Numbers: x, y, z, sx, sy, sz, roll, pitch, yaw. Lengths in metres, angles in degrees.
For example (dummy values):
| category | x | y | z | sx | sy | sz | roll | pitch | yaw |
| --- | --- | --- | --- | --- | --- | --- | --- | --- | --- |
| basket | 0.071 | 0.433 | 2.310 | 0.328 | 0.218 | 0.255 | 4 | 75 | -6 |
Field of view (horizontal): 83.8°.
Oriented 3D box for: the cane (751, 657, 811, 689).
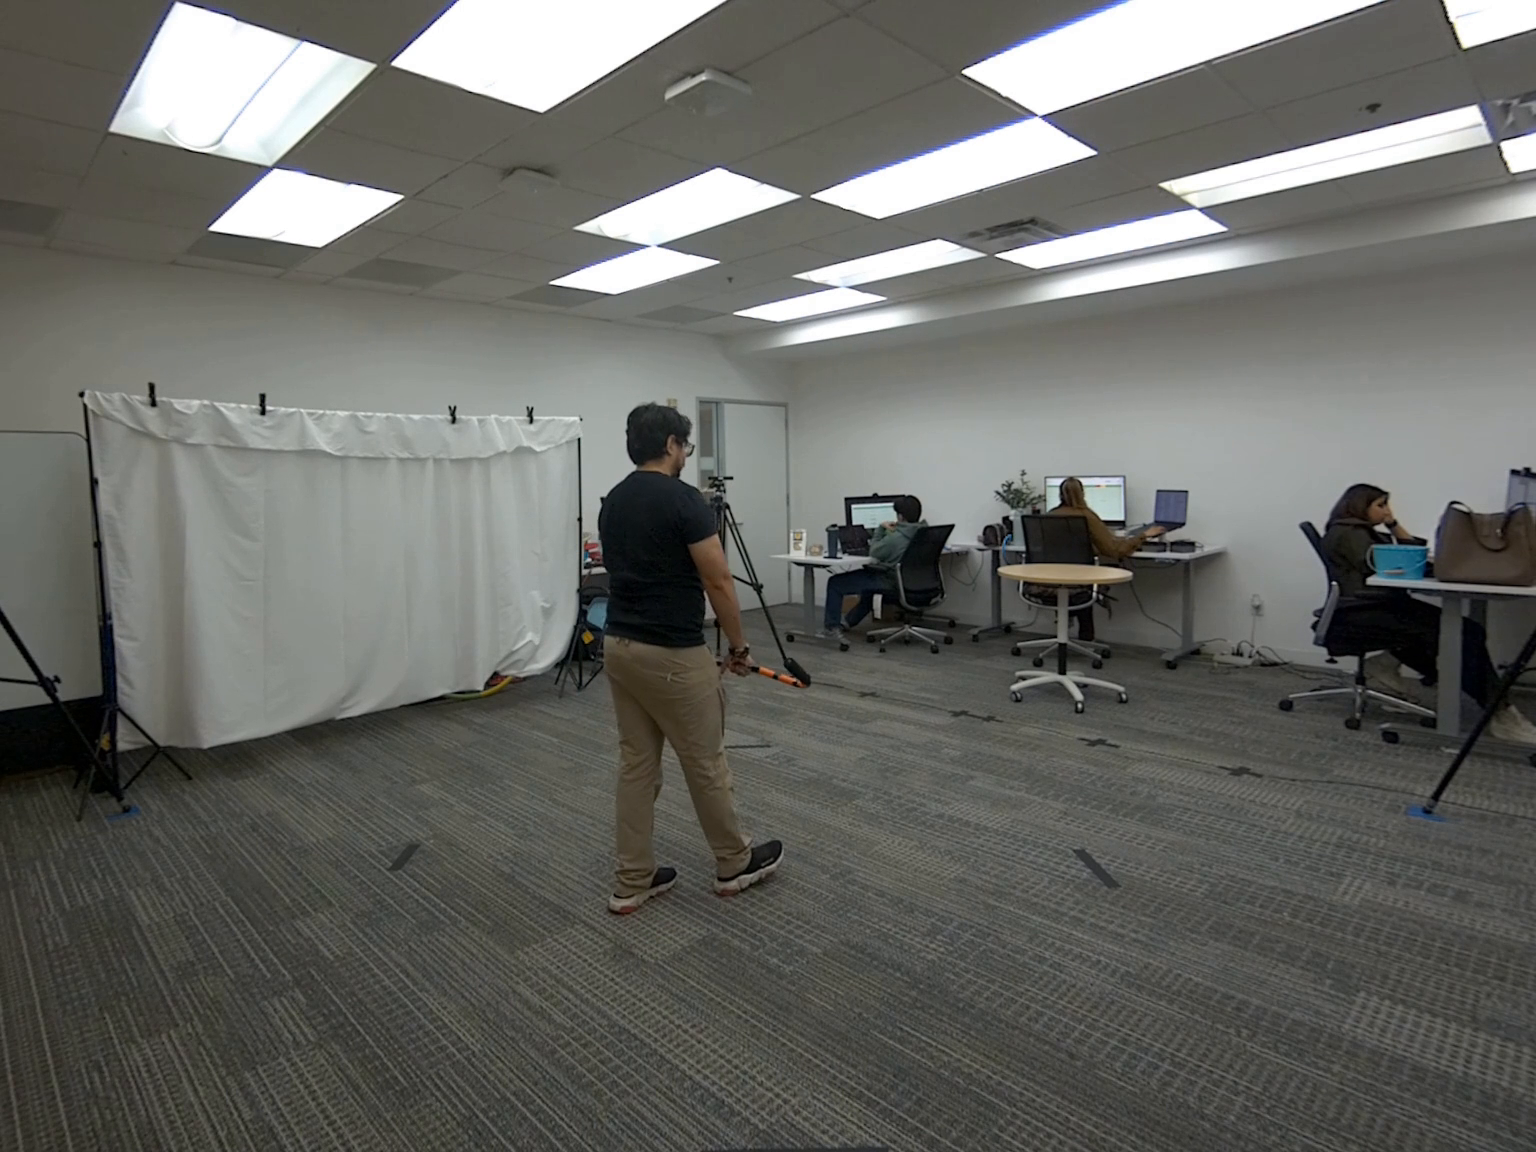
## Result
| category | x | y | z | sx | sy | sz | roll | pitch | yaw |
| --- | --- | --- | --- | --- | --- | --- | --- | --- | --- |
| cane | -0.201 | 0.310 | 2.948 | 0.935 | 0.152 | 0.199 | 3 | -36 | 45 |
